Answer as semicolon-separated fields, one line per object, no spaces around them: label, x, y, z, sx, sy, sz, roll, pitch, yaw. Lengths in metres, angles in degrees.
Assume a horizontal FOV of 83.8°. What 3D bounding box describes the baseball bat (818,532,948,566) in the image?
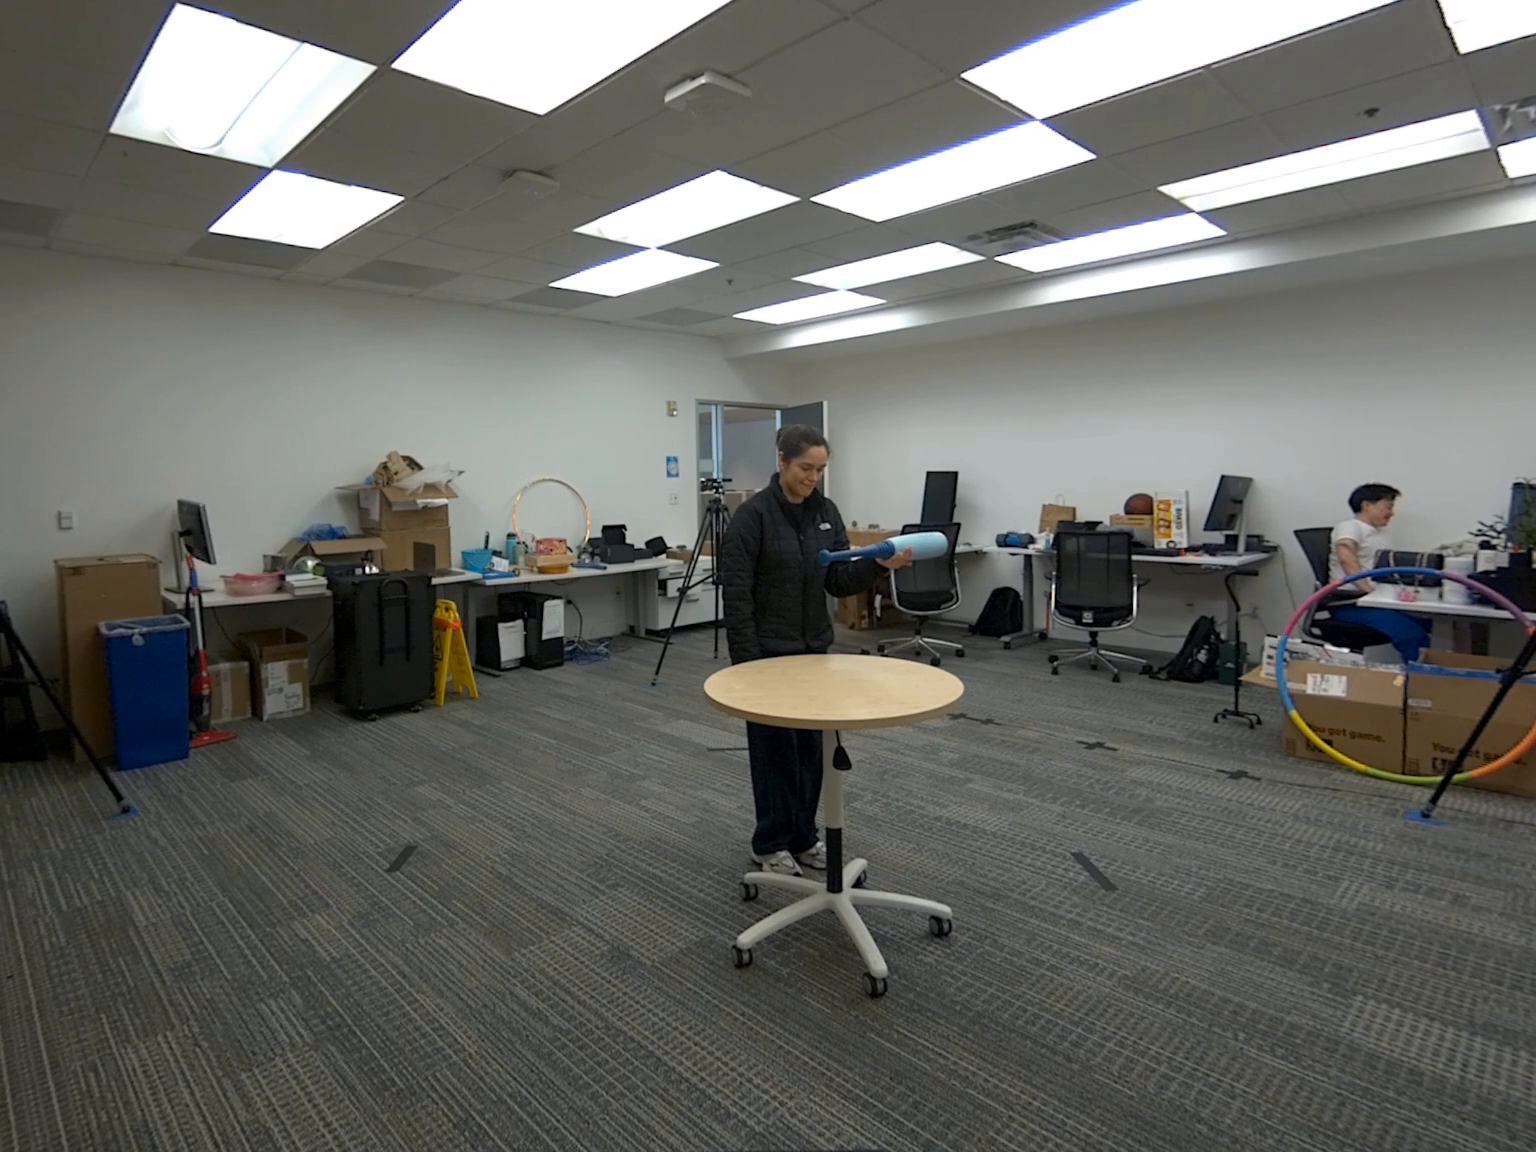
baseball bat;0.377;-0.086;2.867;0.530;0.088;0.091;-7;7;-32
